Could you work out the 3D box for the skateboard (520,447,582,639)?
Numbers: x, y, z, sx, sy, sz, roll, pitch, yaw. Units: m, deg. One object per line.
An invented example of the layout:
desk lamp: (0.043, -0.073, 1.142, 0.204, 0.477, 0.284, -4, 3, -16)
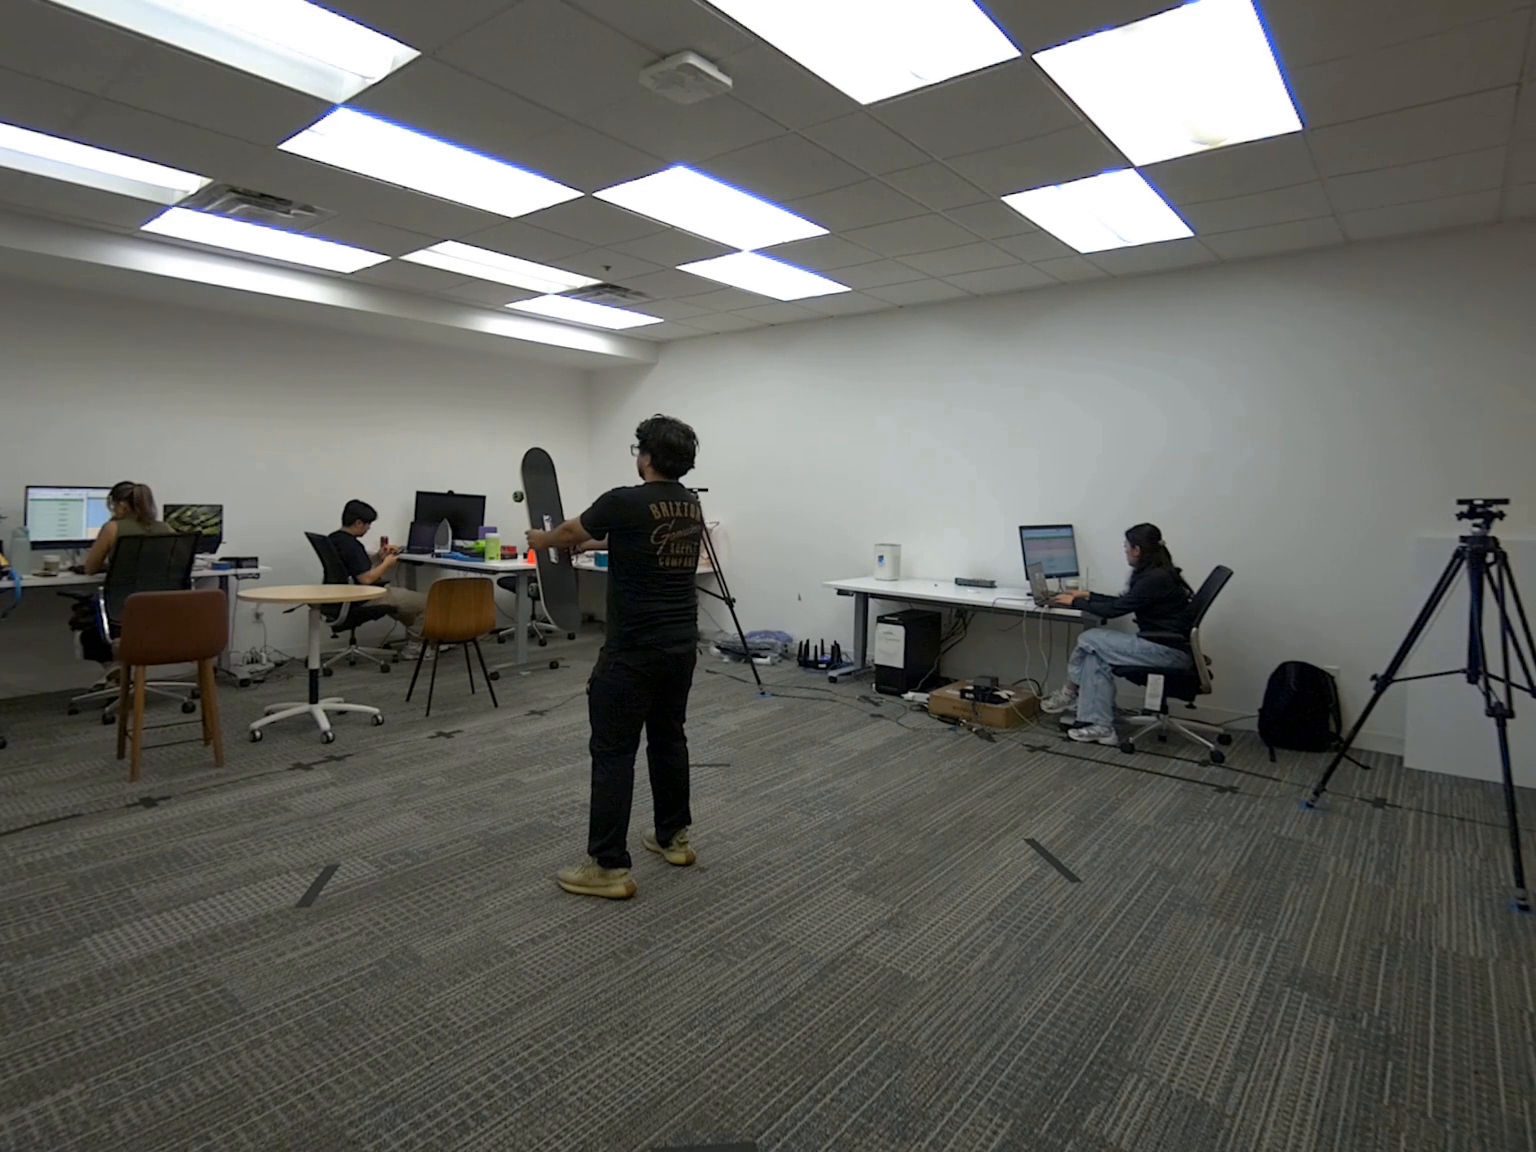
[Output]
skateboard: (-0.928, -0.139, 3.500, 0.112, 0.797, 0.187, -23, -15, 33)
